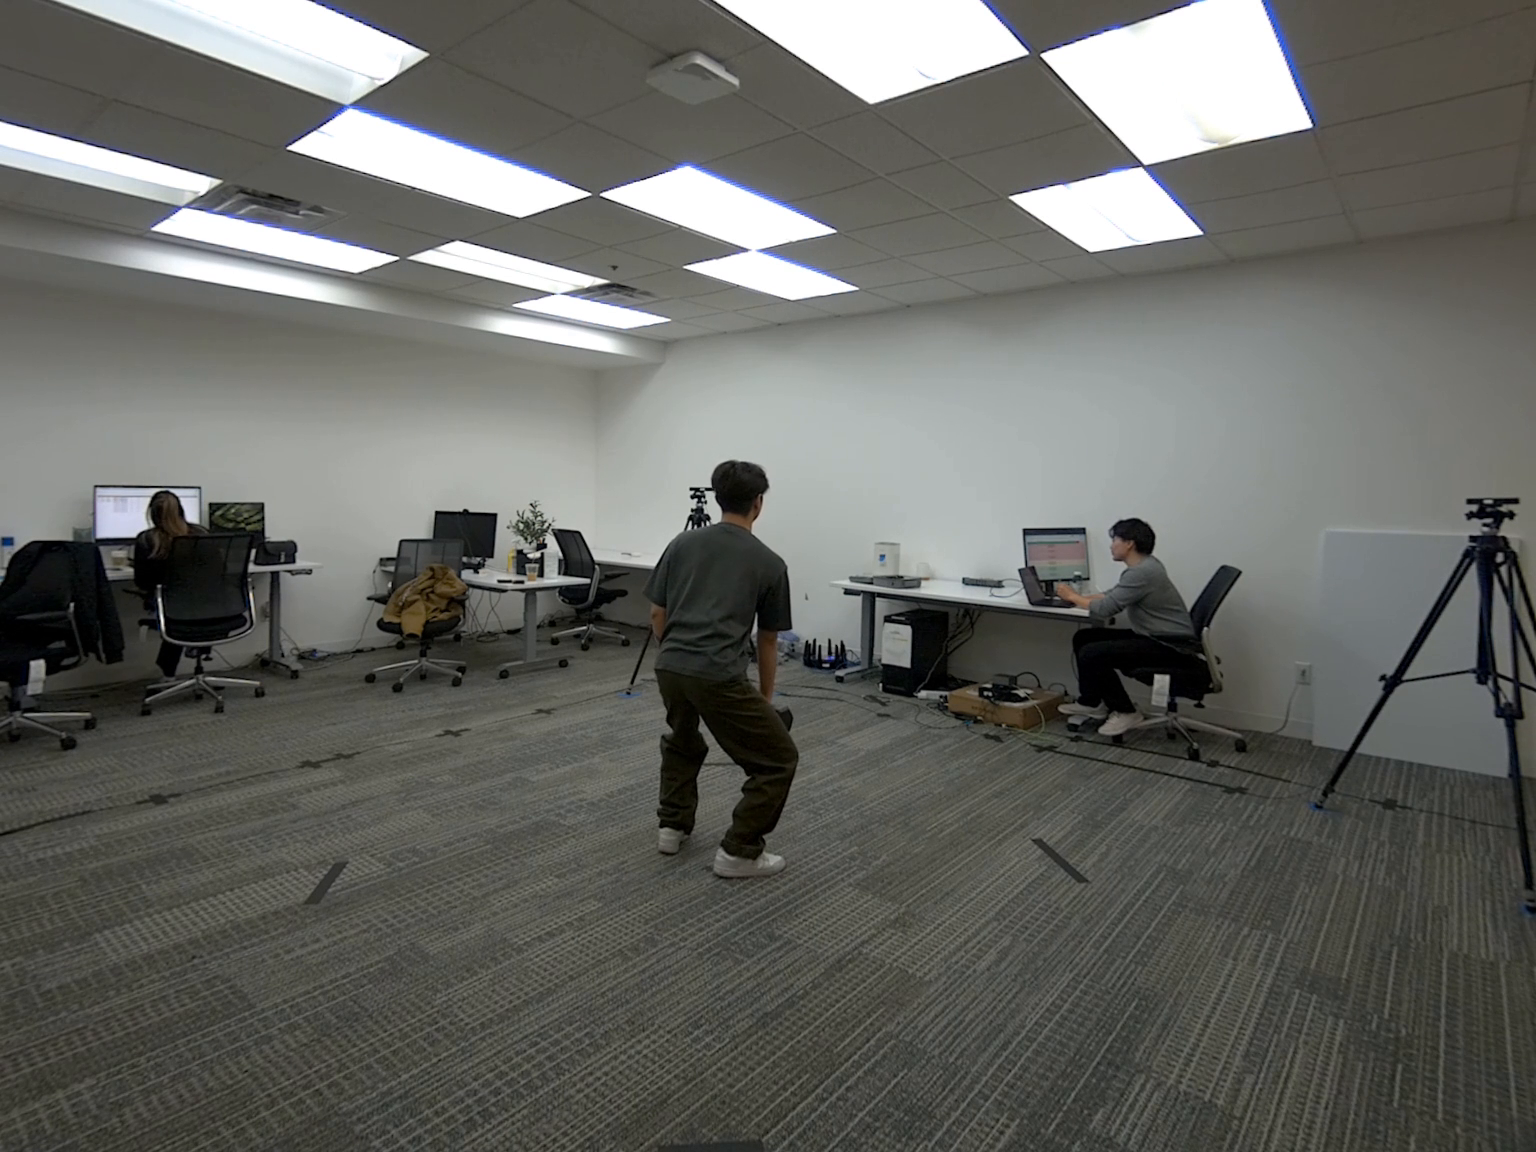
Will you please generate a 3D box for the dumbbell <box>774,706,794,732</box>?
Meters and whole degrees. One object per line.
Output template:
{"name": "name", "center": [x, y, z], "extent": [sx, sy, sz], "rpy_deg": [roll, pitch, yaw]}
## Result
{"name": "dumbbell", "center": [-0.060, 0.543, 3.320], "extent": [0.304, 0.124, 0.104], "rpy_deg": [6, -21, 41]}
